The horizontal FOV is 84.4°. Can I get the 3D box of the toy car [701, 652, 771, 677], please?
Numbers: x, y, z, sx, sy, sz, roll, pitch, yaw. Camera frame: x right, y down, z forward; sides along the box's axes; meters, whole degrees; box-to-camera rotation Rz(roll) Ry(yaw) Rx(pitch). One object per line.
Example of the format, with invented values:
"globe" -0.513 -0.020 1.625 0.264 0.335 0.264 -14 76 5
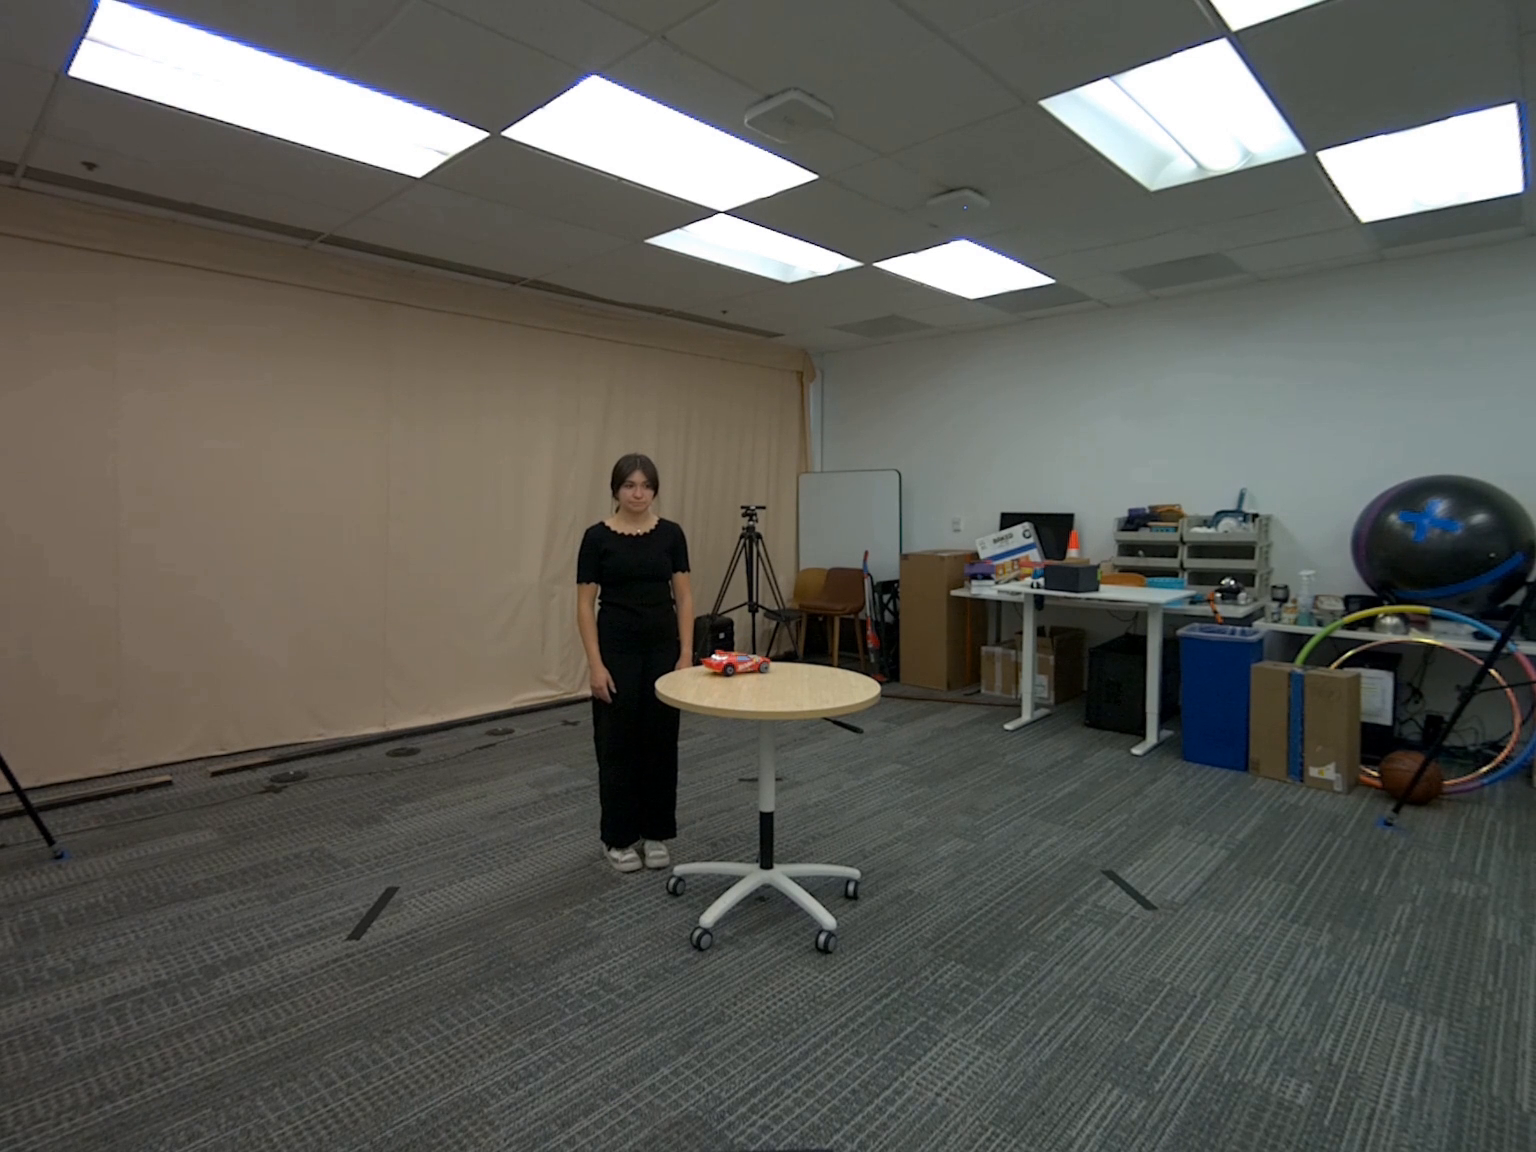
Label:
"toy car" -0.121 0.319 3.049 0.248 0.083 0.134 11 -1 -26
